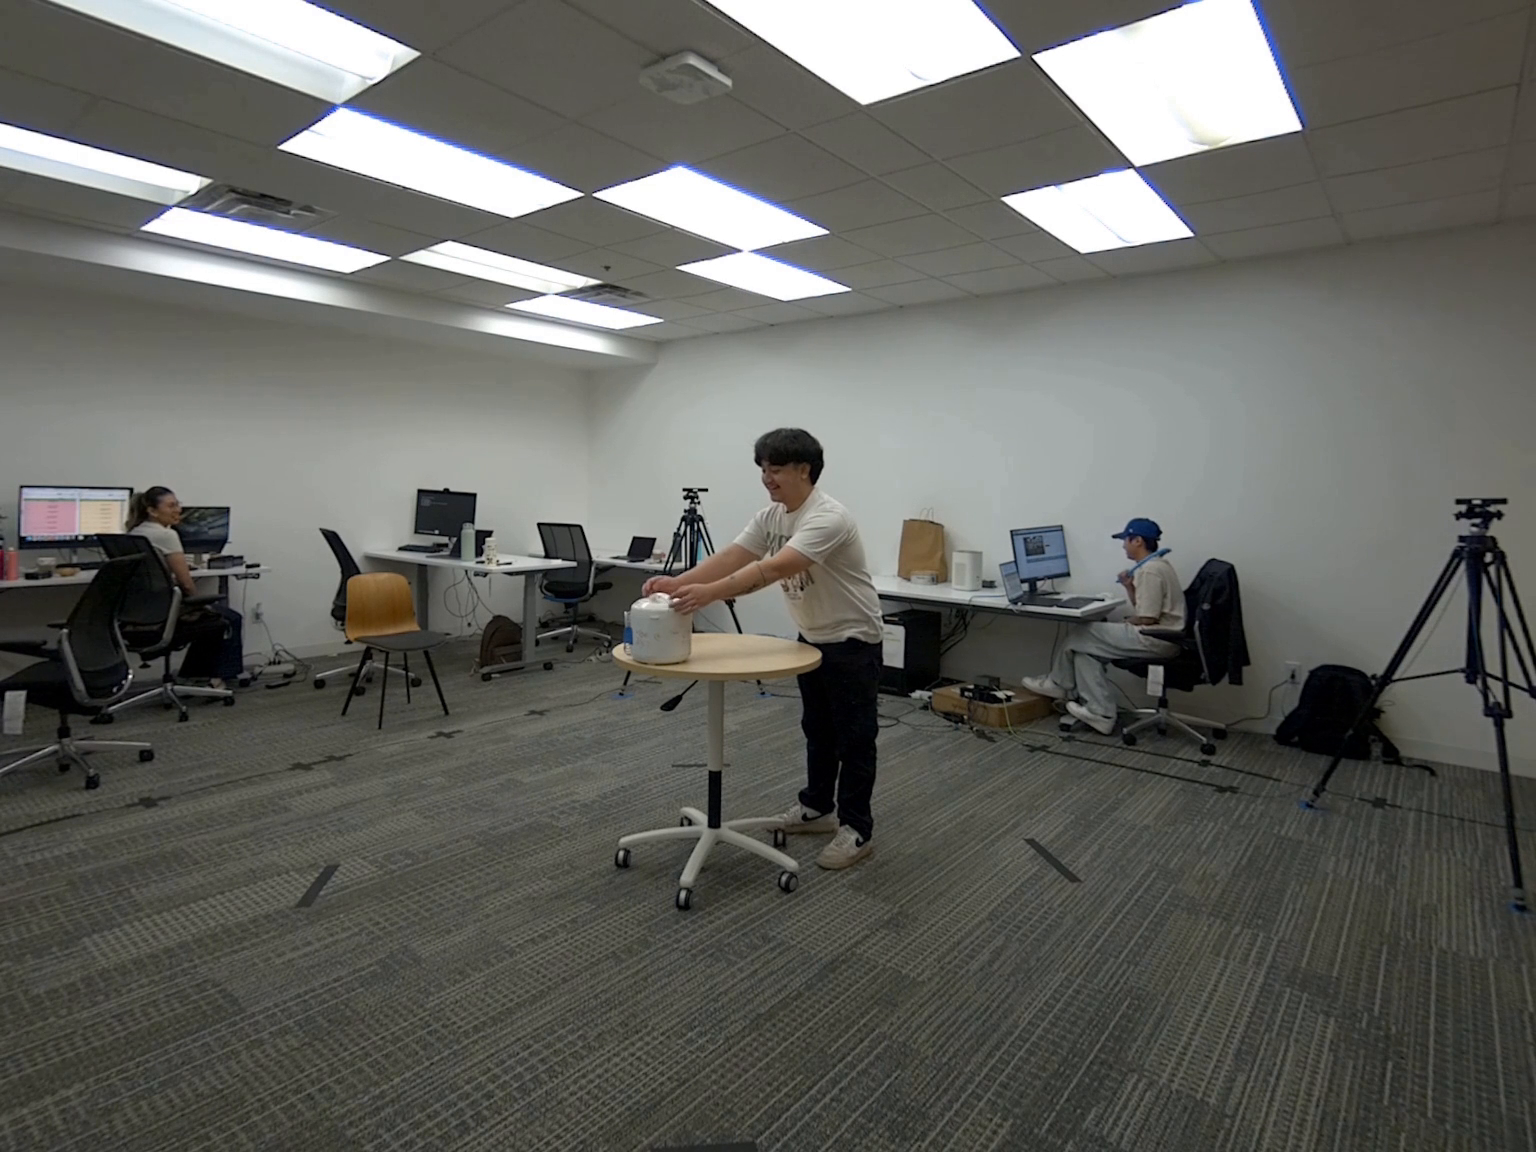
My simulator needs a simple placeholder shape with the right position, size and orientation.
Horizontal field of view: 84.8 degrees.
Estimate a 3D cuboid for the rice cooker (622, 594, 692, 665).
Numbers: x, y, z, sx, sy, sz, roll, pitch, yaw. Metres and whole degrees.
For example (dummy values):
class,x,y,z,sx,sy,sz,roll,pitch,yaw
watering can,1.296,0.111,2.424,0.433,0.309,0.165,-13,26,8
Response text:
class,x,y,z,sx,sy,sz,roll,pitch,yaw
rice cooker,-0.378,0.171,2.932,0.211,0.232,0.228,-3,6,-32
